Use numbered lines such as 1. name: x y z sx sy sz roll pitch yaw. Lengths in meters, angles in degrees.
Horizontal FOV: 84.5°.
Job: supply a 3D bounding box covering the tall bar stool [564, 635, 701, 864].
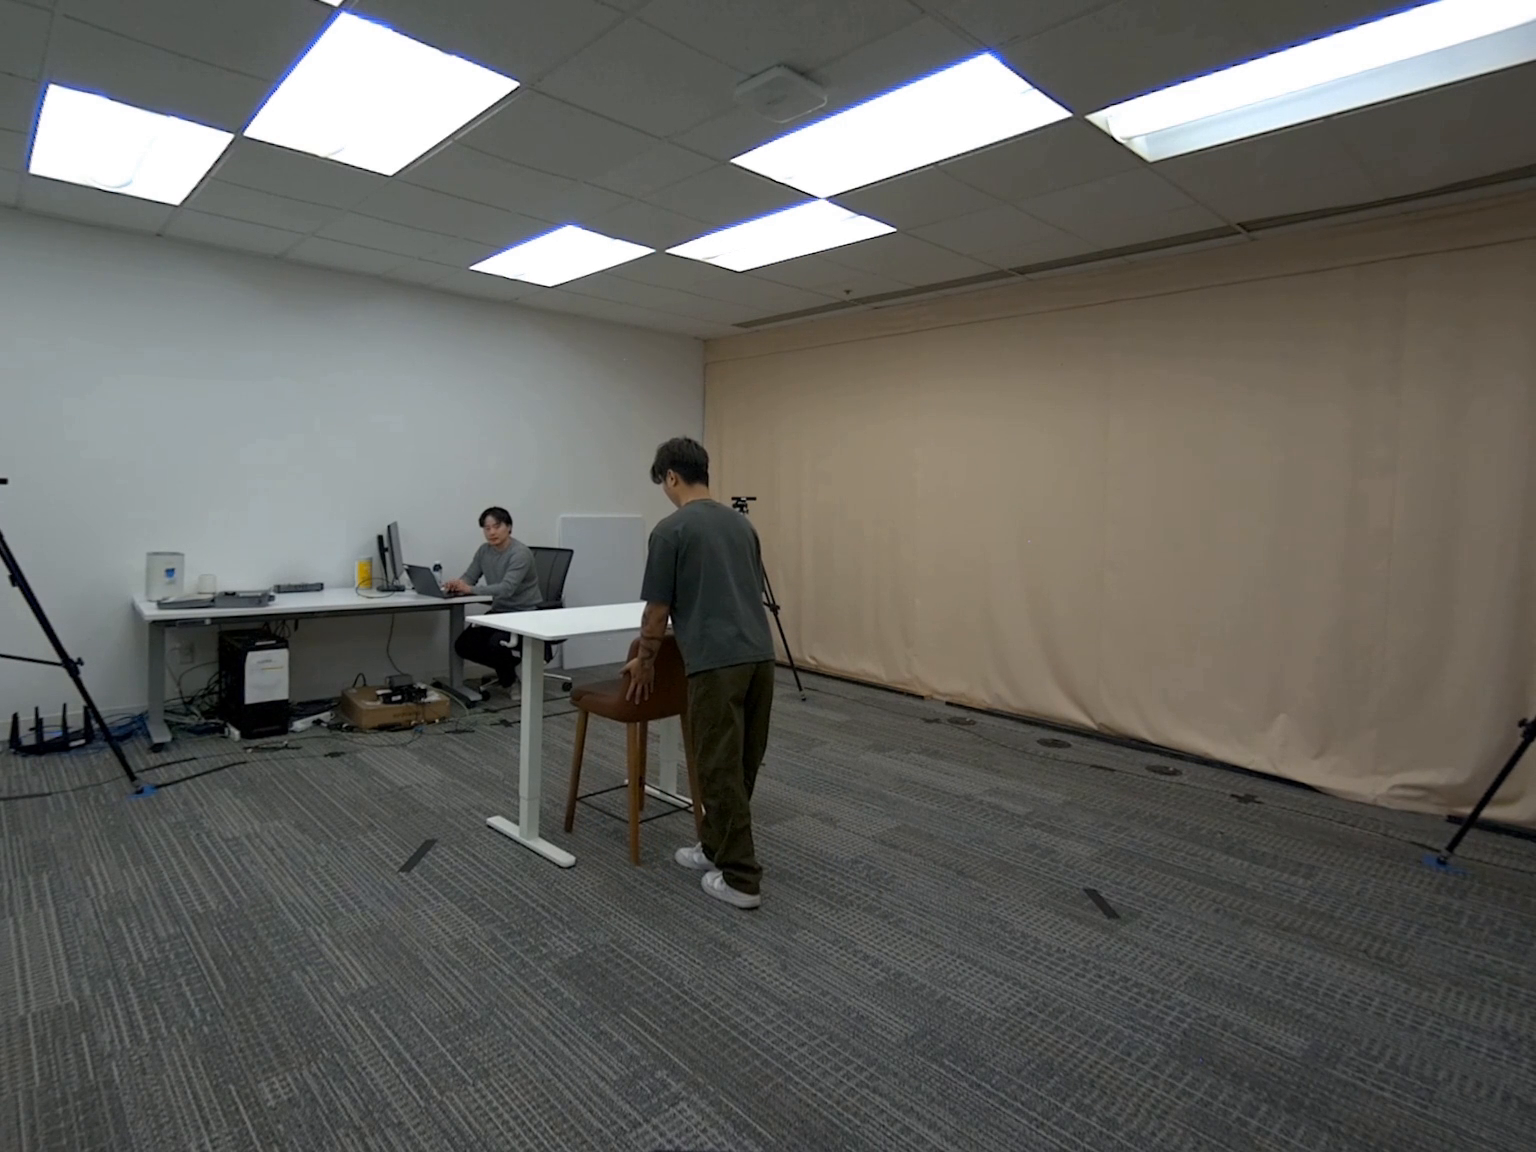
1. tall bar stool: -0.527 0.629 3.426 0.480 0.886 0.446 9 7 44
